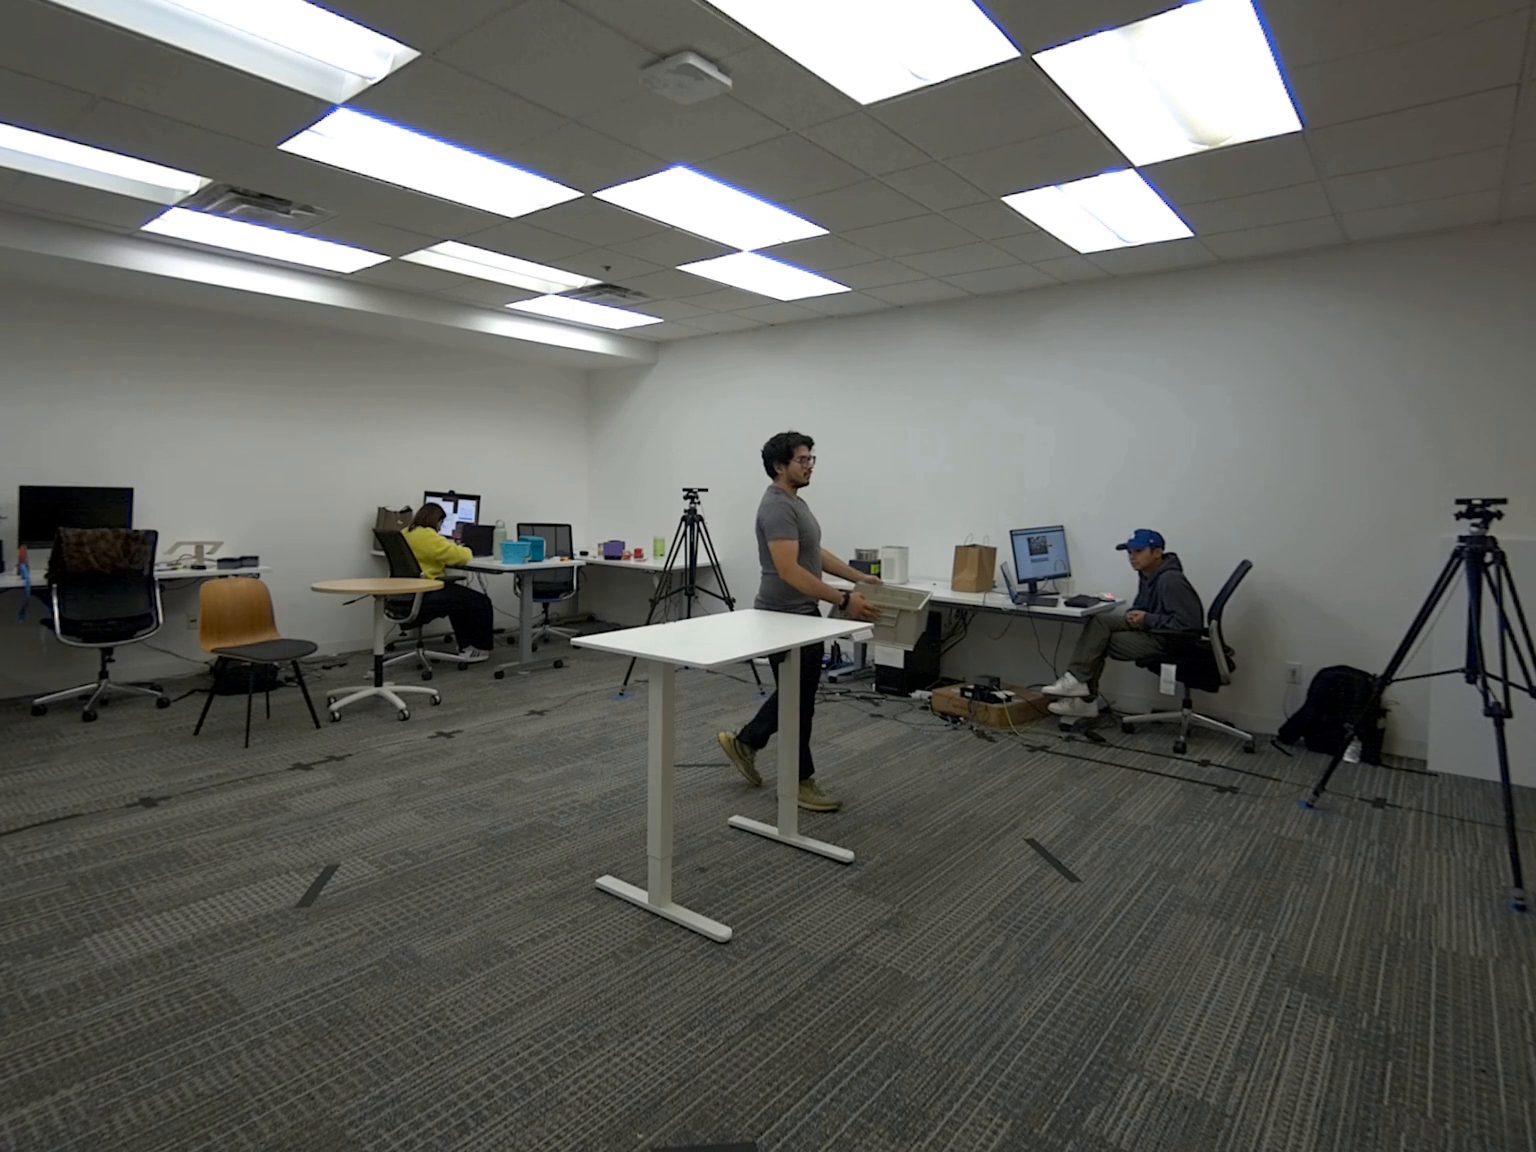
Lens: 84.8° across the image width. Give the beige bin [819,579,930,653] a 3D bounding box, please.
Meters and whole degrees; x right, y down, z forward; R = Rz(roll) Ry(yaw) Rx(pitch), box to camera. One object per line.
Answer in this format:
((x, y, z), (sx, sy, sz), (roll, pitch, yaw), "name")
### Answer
((0.473, 0.157, 3.697), (0.386, 0.187, 0.416), (11, 10, 18), "beige bin")
